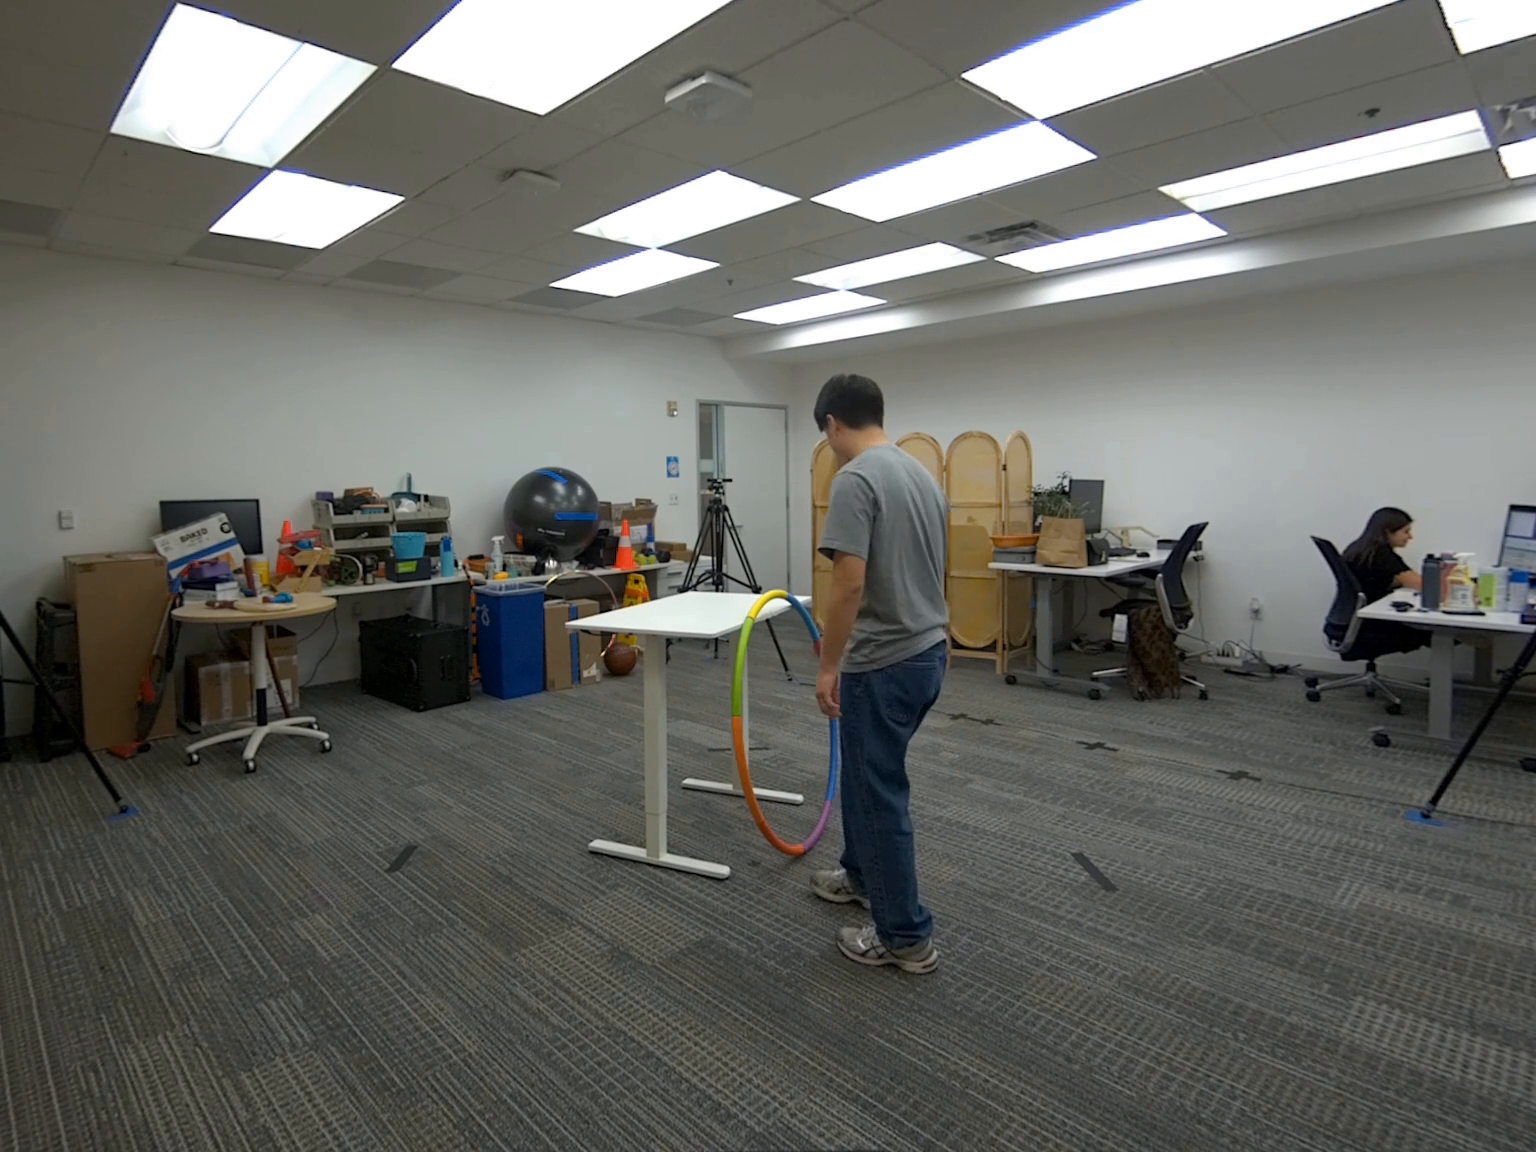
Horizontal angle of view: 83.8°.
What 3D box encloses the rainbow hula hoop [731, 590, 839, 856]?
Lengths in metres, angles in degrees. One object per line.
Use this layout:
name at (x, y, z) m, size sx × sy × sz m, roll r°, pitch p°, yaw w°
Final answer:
rainbow hula hoop at (0.092, 0.544, 3.265) m, size 0.036 × 0.979 × 0.962 m, roll -10°, pitch 1°, yaw 22°
